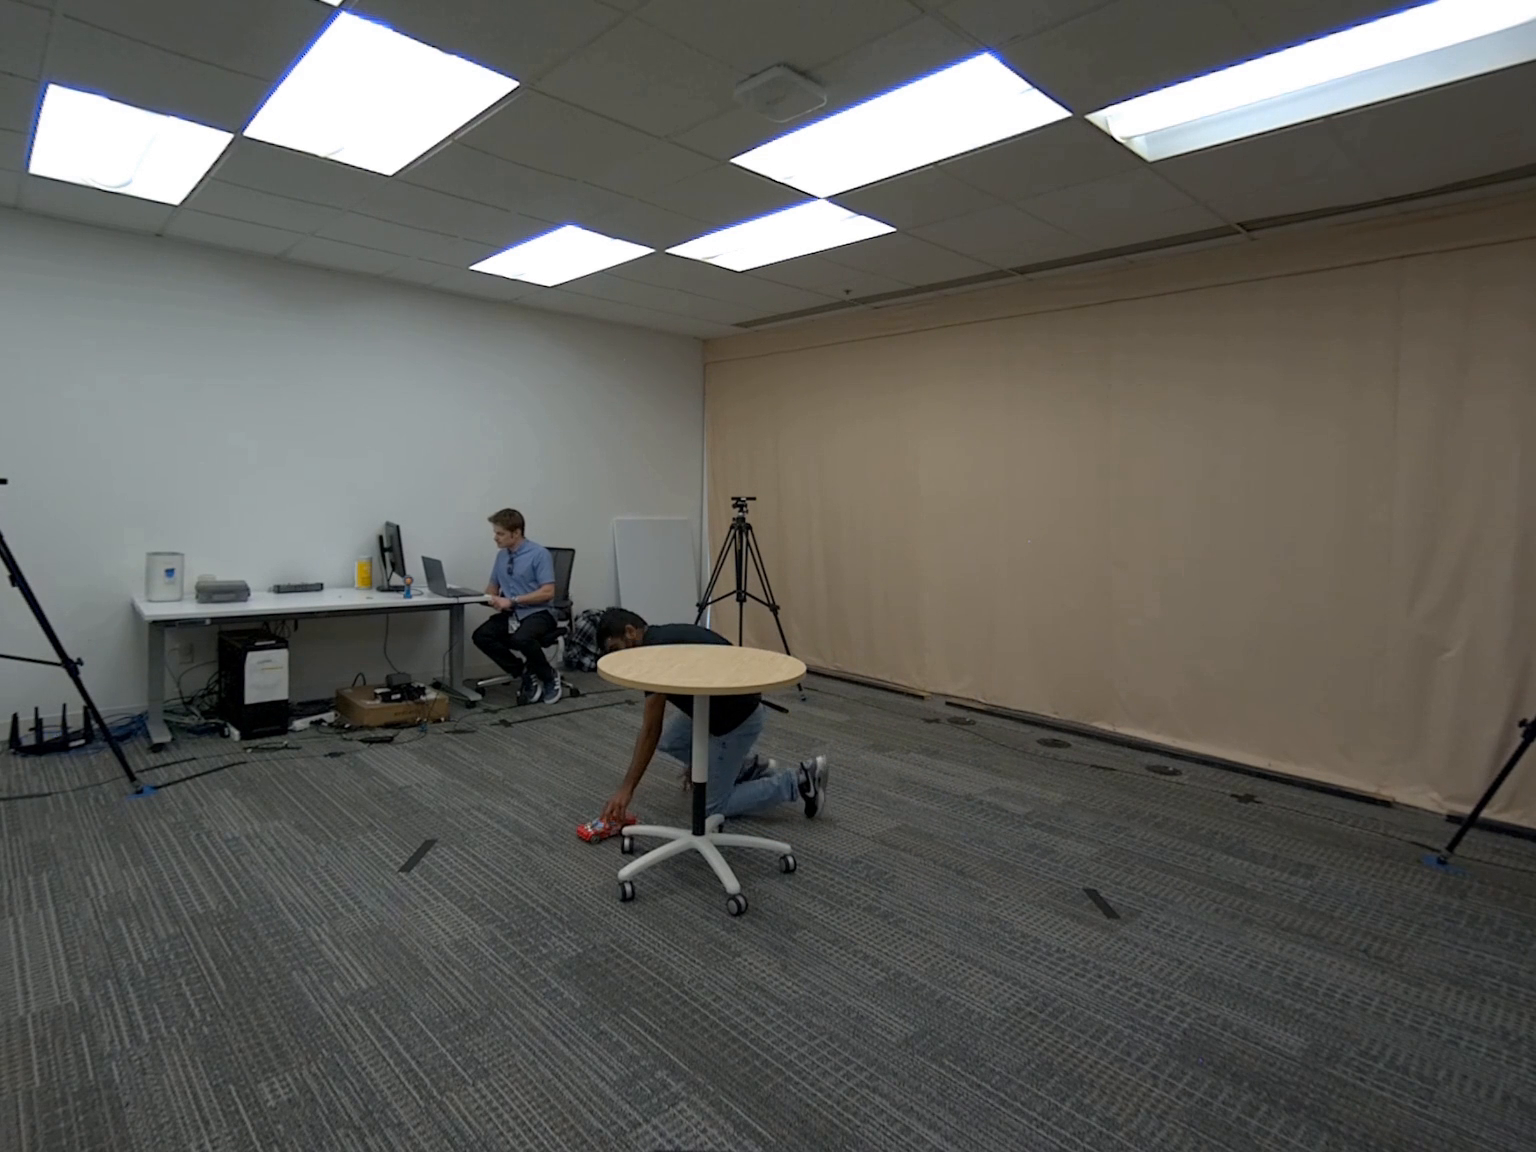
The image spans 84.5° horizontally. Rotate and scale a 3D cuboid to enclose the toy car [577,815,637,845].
[{"bbox_3d":[-0.663,1.026,3.457,0.250,0.082,0.133,-16,14,-39],"label":"toy car"}]
